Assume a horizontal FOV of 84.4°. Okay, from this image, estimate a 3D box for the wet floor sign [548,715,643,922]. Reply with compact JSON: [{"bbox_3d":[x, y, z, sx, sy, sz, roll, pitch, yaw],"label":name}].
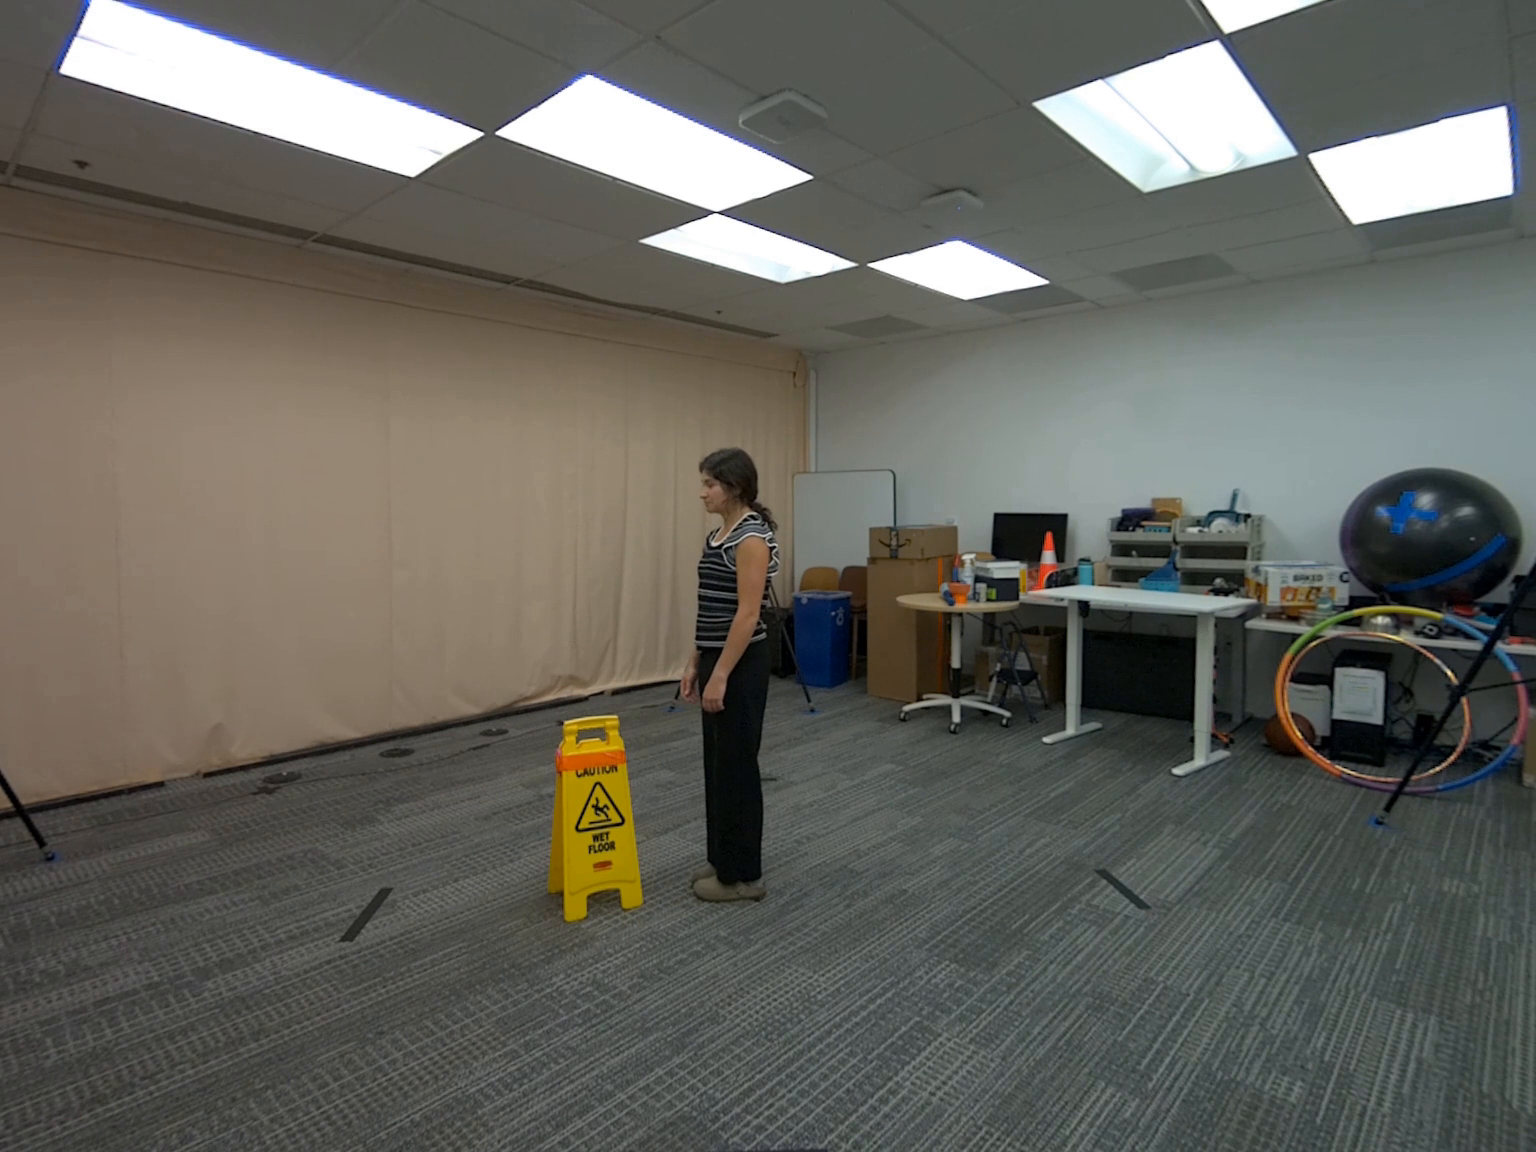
[{"bbox_3d":[-0.623,0.829,2.979,0.276,0.645,0.297,-2,2,-25],"label":"wet floor sign"}]
